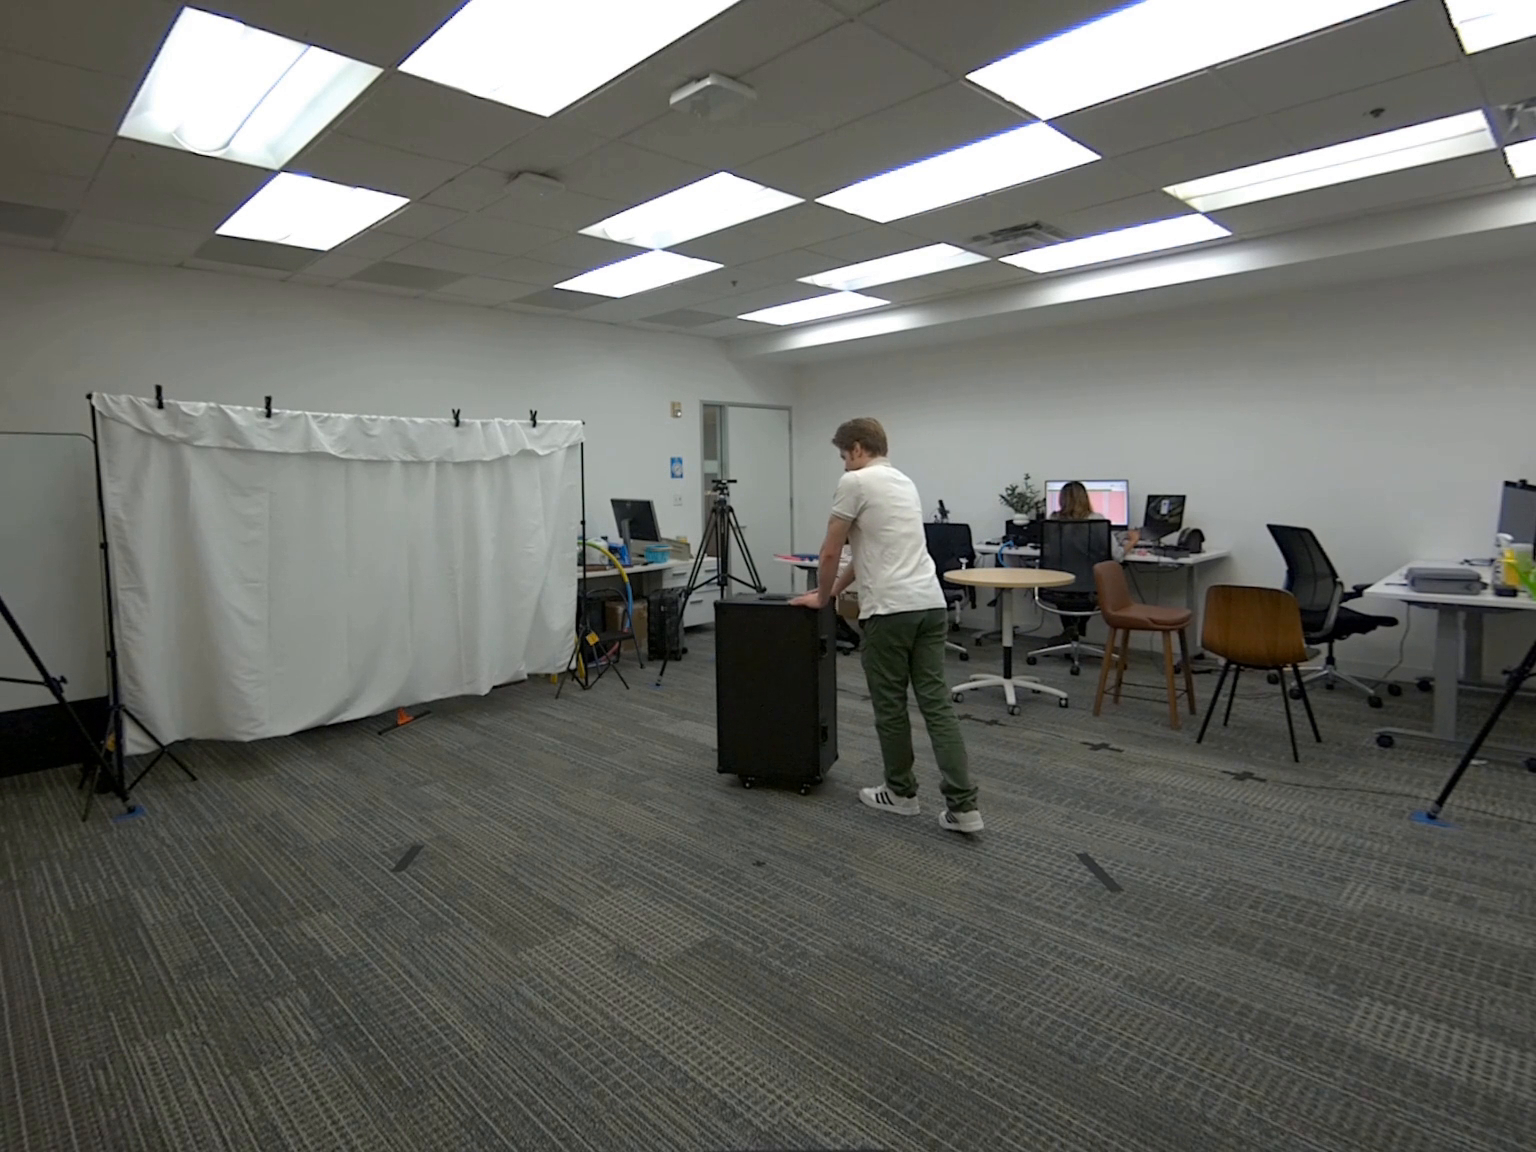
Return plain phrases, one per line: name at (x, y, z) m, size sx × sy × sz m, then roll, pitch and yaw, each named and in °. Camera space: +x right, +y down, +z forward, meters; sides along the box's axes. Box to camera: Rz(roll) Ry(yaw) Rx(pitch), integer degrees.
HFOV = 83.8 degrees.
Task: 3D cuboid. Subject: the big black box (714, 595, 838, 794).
big black box at (0.043, 0.529, 3.961) m, size 0.533 × 0.866 × 0.379 m, roll 1°, pitch 4°, yaw 20°
